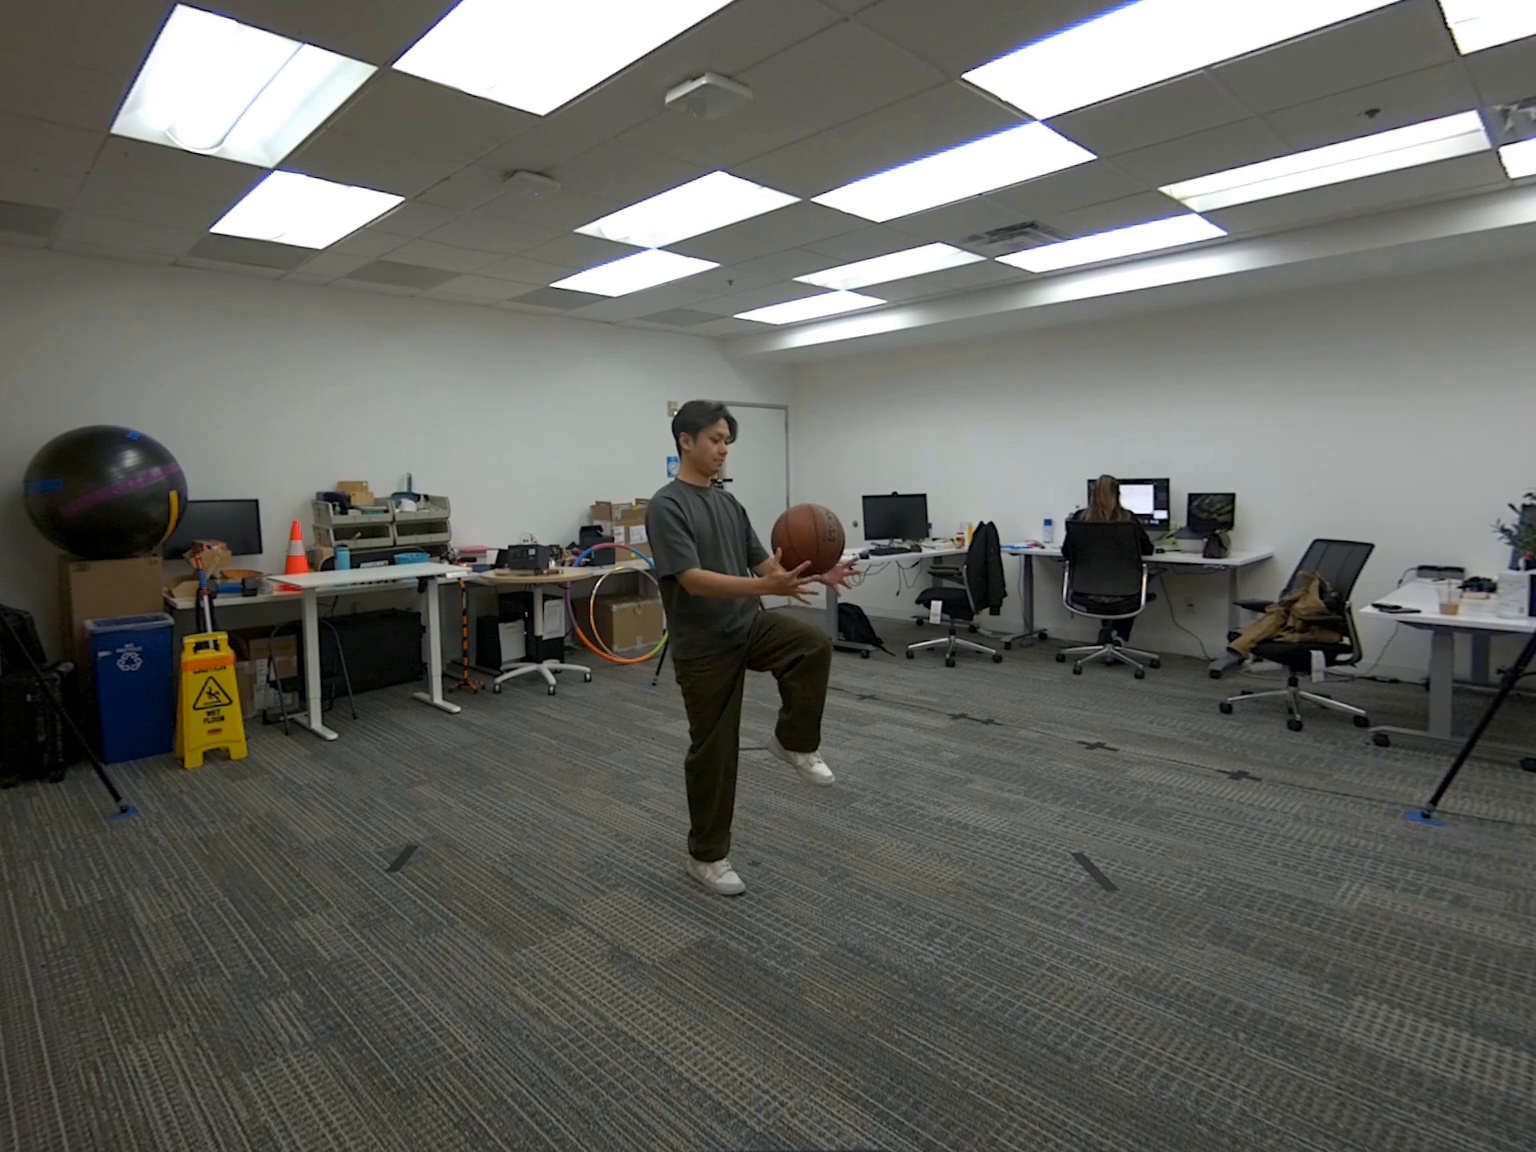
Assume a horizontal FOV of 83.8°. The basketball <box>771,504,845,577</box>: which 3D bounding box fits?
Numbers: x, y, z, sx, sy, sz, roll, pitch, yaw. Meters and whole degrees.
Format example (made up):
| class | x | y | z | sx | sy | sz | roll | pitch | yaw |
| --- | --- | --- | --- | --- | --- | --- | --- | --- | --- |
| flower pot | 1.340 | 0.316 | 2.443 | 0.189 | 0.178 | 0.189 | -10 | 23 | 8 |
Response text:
| class | x | y | z | sx | sy | sz | roll | pitch | yaw |
| --- | --- | --- | --- | --- | --- | --- | --- | --- | --- |
| basketball | 0.133 | -0.097 | 2.750 | 0.236 | 0.235 | 0.237 | -1 | 5 | -2 |
